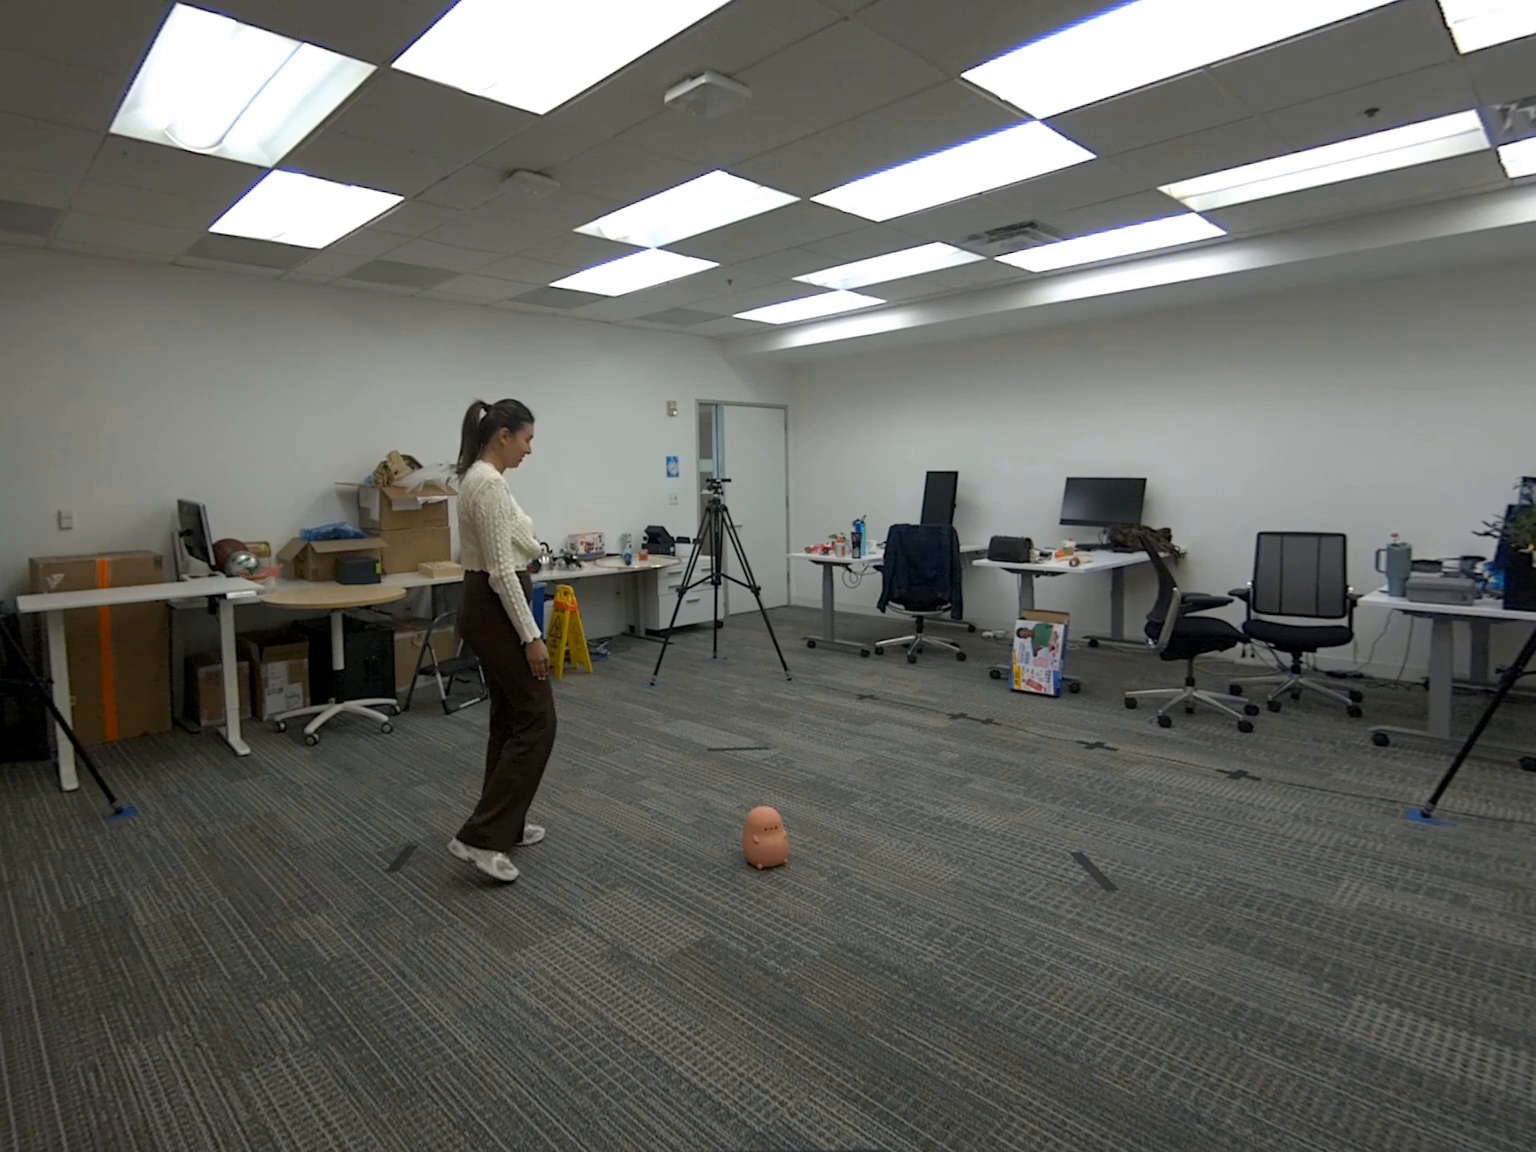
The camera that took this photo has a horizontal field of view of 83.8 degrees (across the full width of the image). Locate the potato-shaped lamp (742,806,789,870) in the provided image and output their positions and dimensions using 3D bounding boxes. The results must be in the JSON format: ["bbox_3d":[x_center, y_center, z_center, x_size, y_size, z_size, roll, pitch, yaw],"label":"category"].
[{"bbox_3d":[-0.010,0.941,3.112,0.162,0.197,0.175,-3,4,-18],"label":"potato-shaped lamp"}]
